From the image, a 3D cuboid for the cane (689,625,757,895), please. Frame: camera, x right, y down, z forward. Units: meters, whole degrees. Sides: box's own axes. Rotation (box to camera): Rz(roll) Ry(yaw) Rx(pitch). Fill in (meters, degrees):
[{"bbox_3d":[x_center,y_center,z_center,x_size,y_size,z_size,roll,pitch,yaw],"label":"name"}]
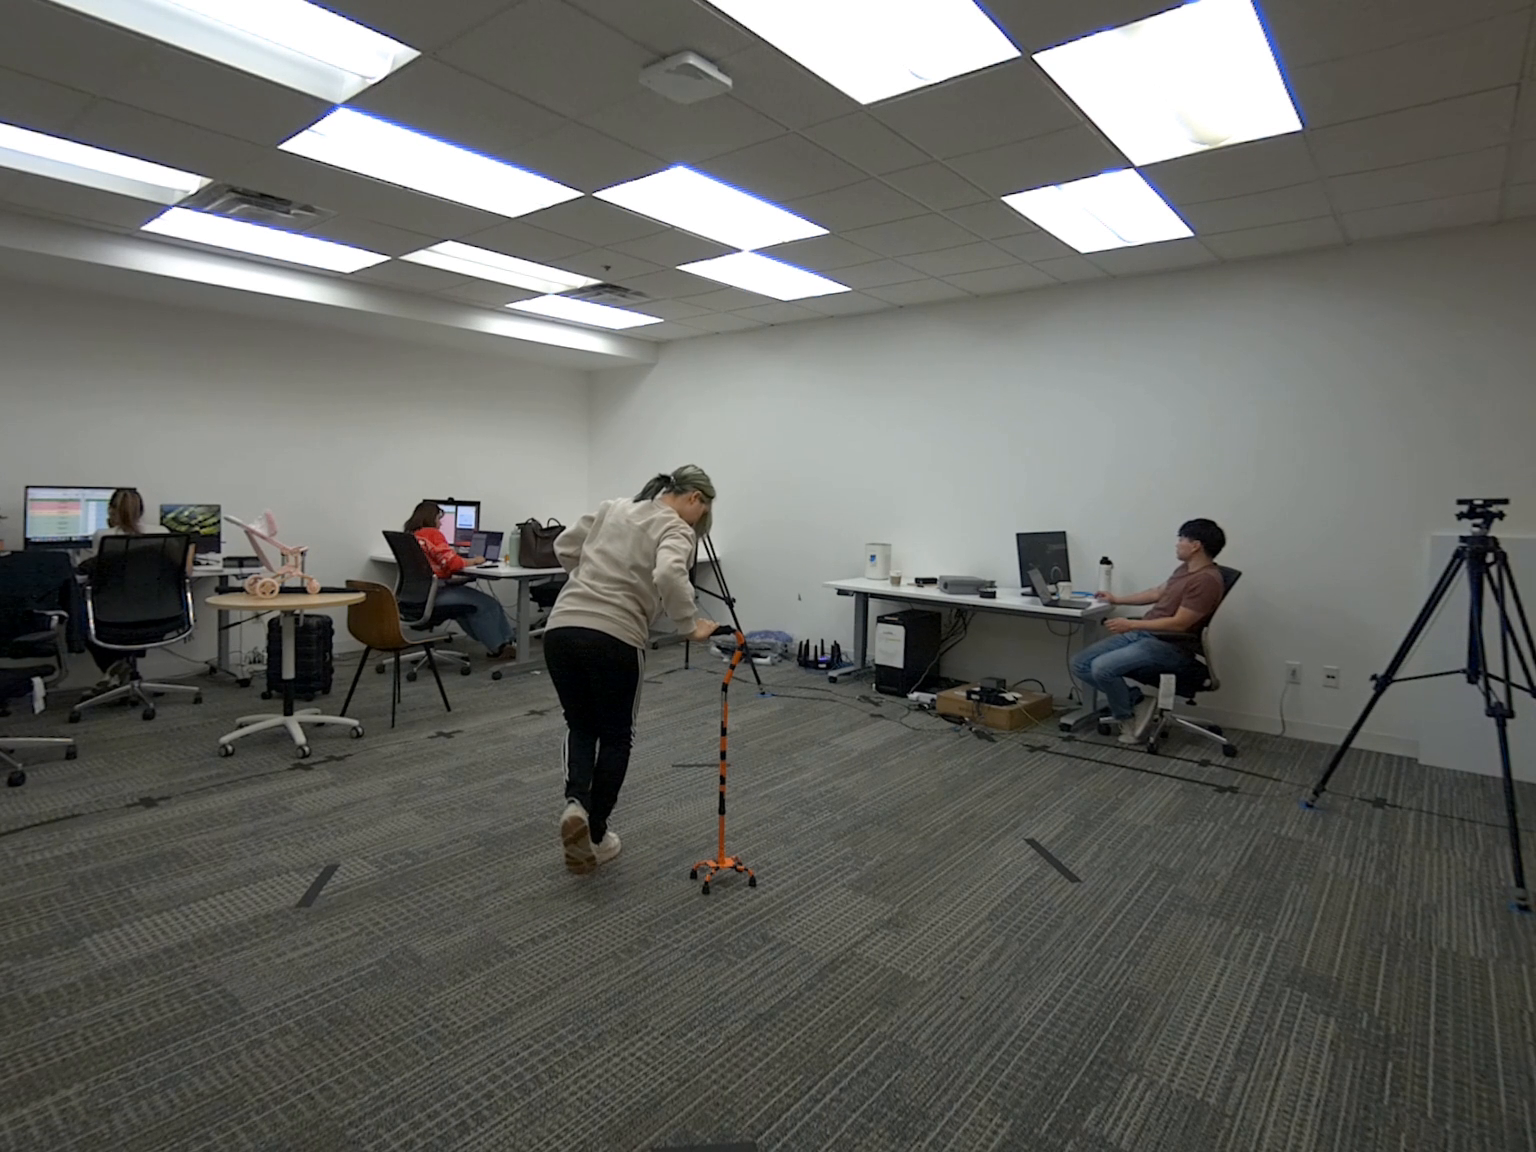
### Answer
[{"bbox_3d":[-0.158,0.633,2.984,0.202,0.905,0.156,0,4,-24],"label":"cane"}]
